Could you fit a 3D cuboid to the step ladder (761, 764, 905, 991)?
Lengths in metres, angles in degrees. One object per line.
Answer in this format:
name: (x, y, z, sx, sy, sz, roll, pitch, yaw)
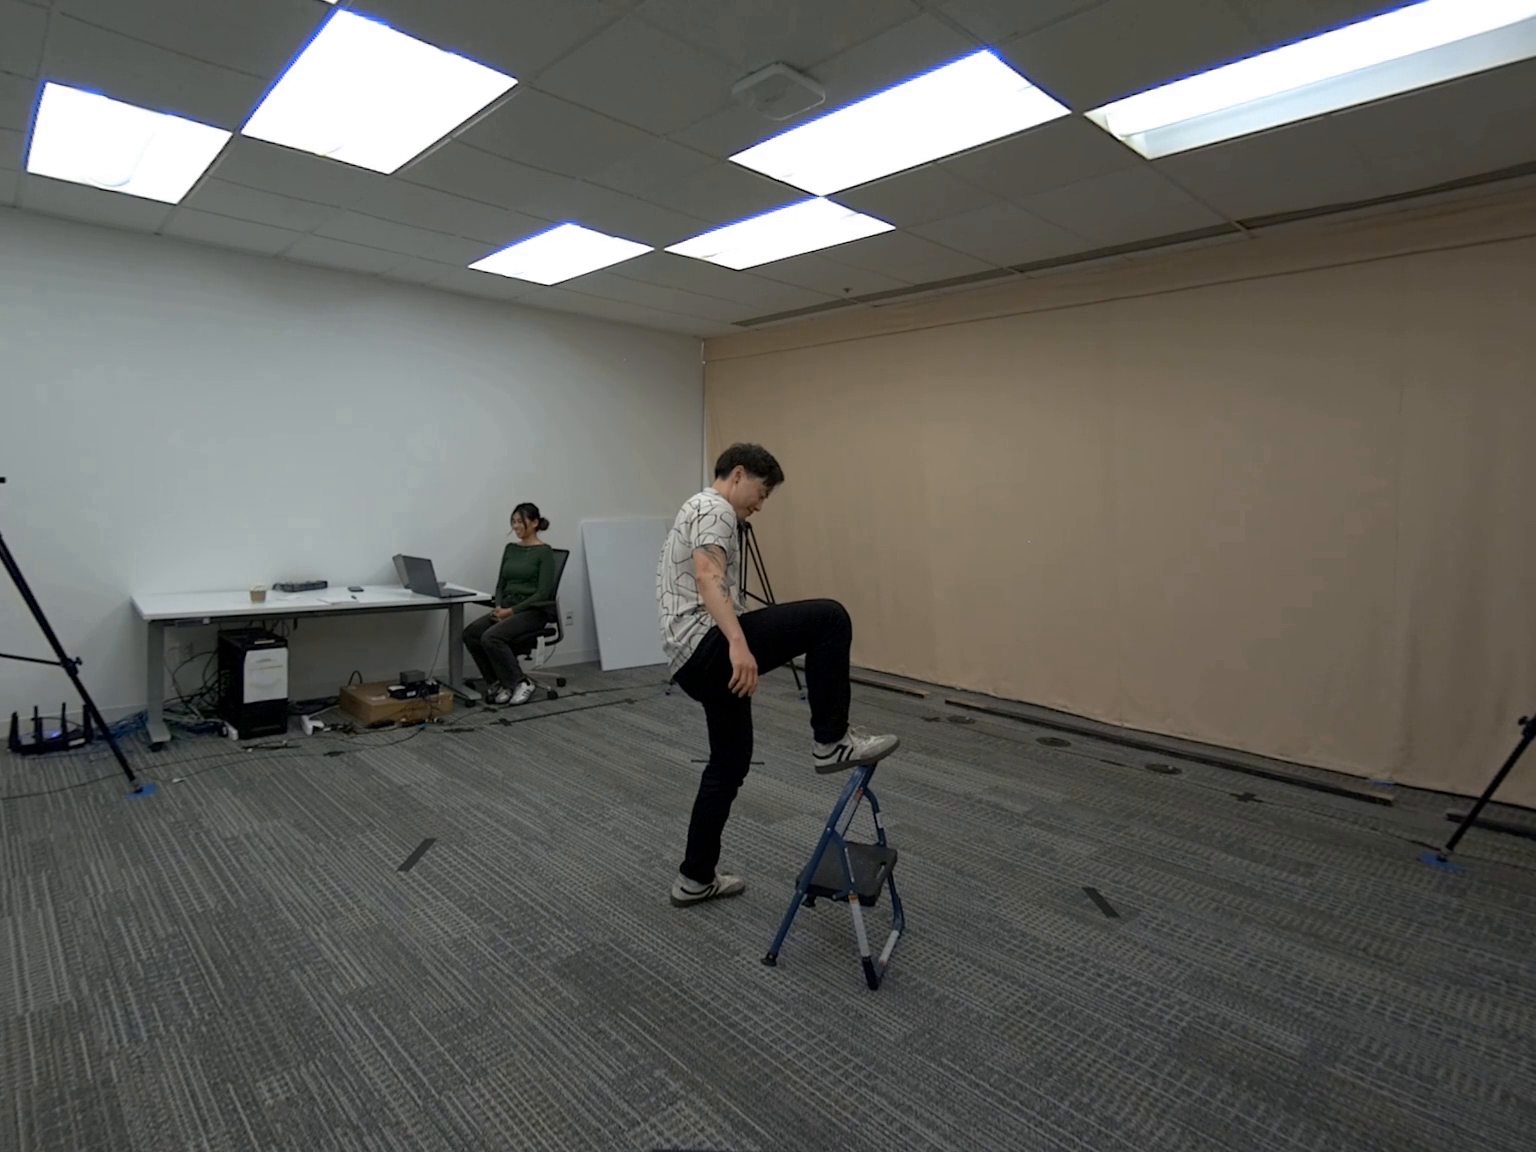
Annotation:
step ladder: (0.224, 0.854, 2.615, 0.355, 0.604, 0.425, 3, 5, 21)
